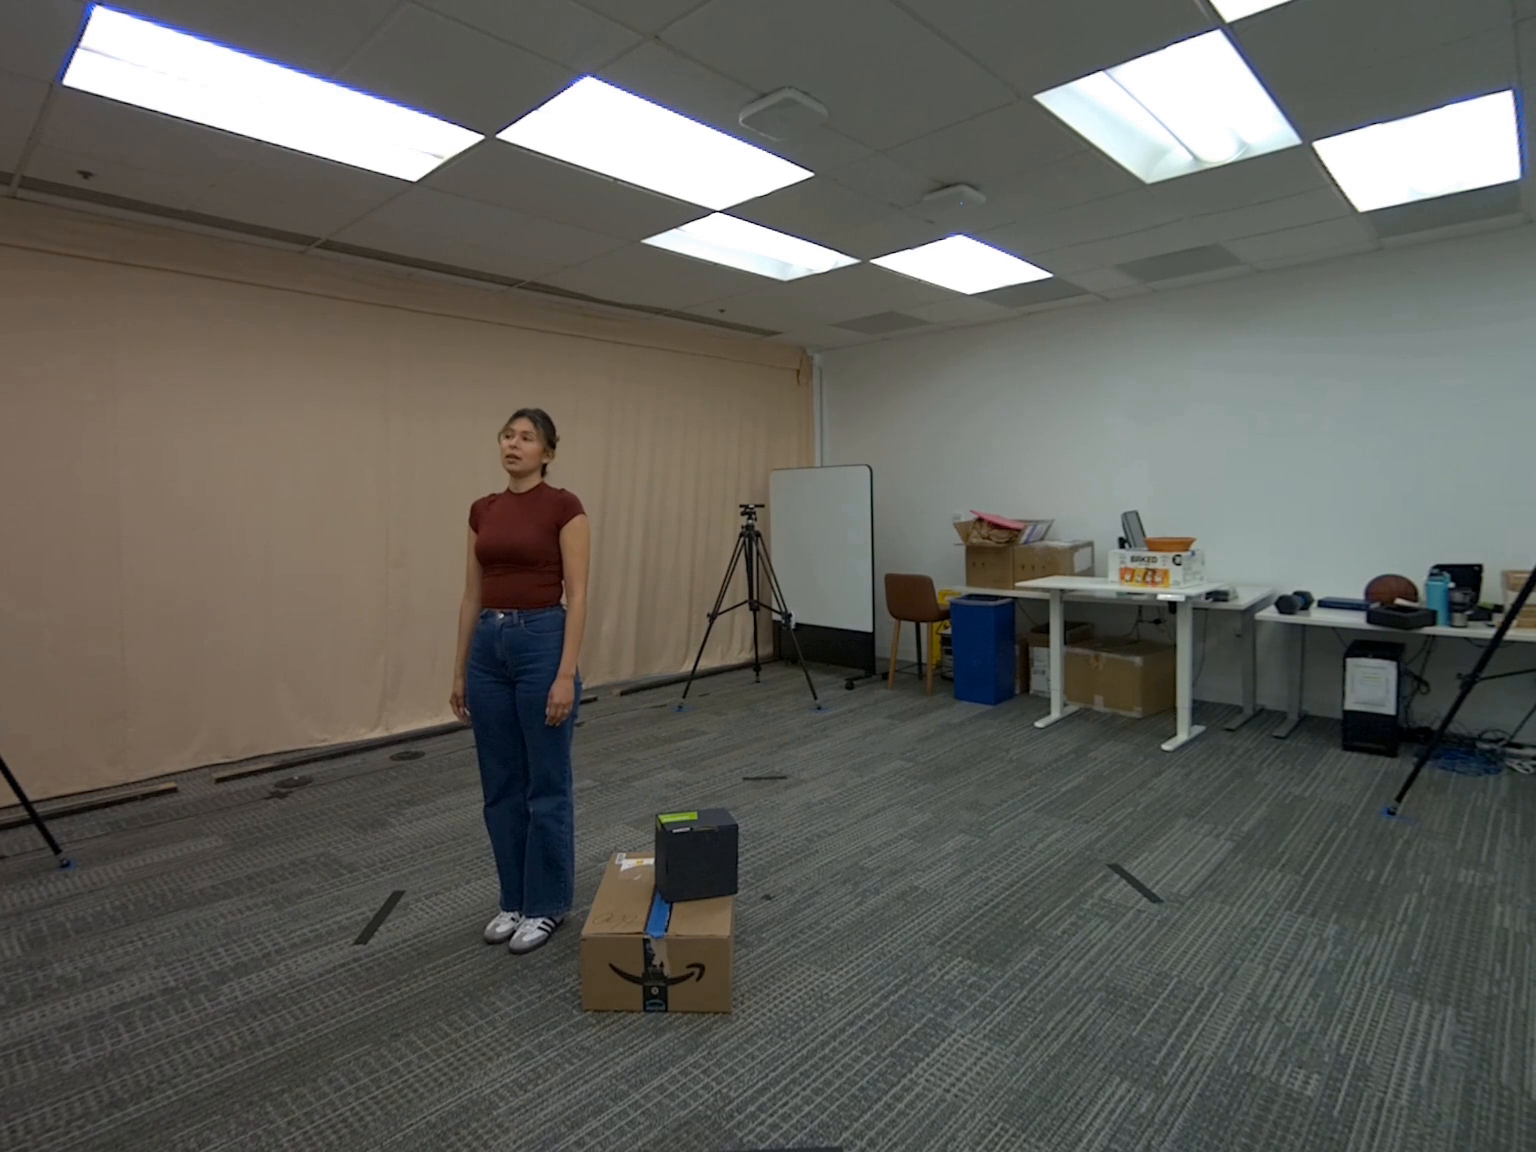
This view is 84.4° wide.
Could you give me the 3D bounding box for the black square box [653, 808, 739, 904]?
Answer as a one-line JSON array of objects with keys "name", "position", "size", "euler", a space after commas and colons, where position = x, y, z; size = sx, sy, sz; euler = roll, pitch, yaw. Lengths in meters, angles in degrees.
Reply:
[{"name": "black square box", "position": [-0.219, 0.843, 2.585], "size": [0.224, 0.216, 0.159], "euler": [-1, 3, -16]}]
